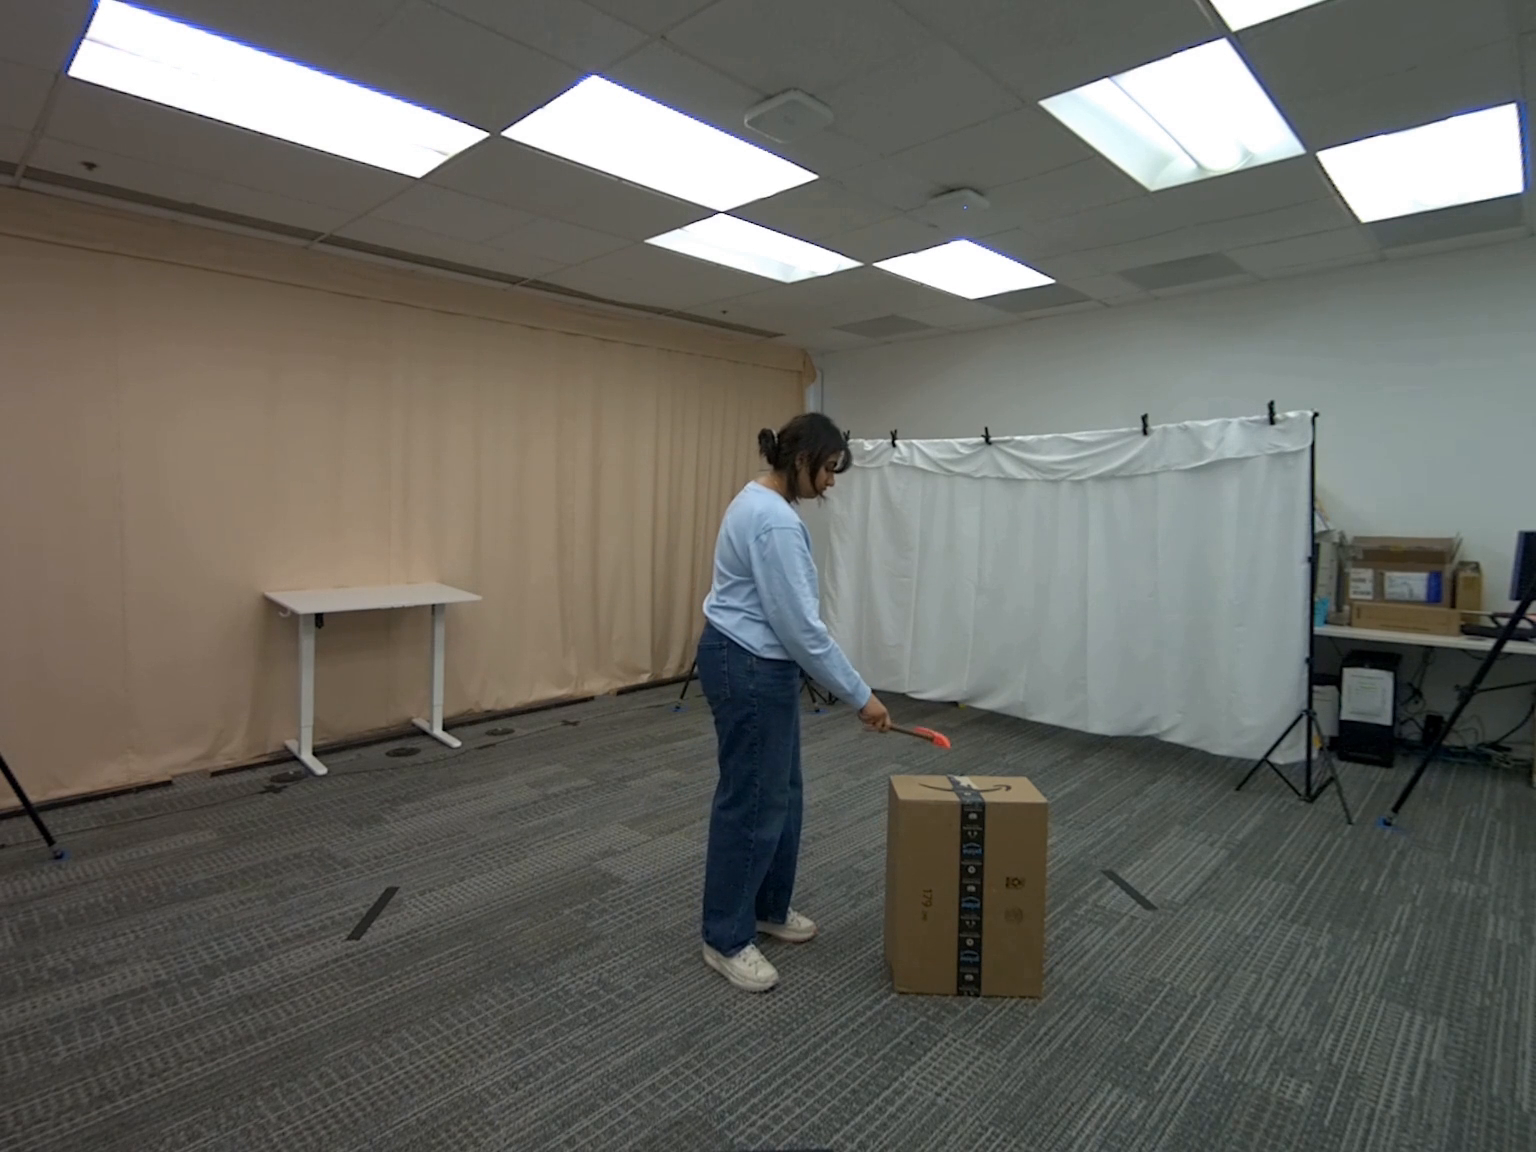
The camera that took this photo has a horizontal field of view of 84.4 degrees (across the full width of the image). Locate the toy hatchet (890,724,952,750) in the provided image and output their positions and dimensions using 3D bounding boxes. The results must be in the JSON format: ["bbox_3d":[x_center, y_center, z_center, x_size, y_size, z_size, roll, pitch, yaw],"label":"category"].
[{"bbox_3d":[0.416,0.449,2.501,0.271,0.029,0.131,17,7,3],"label":"toy hatchet"}]
